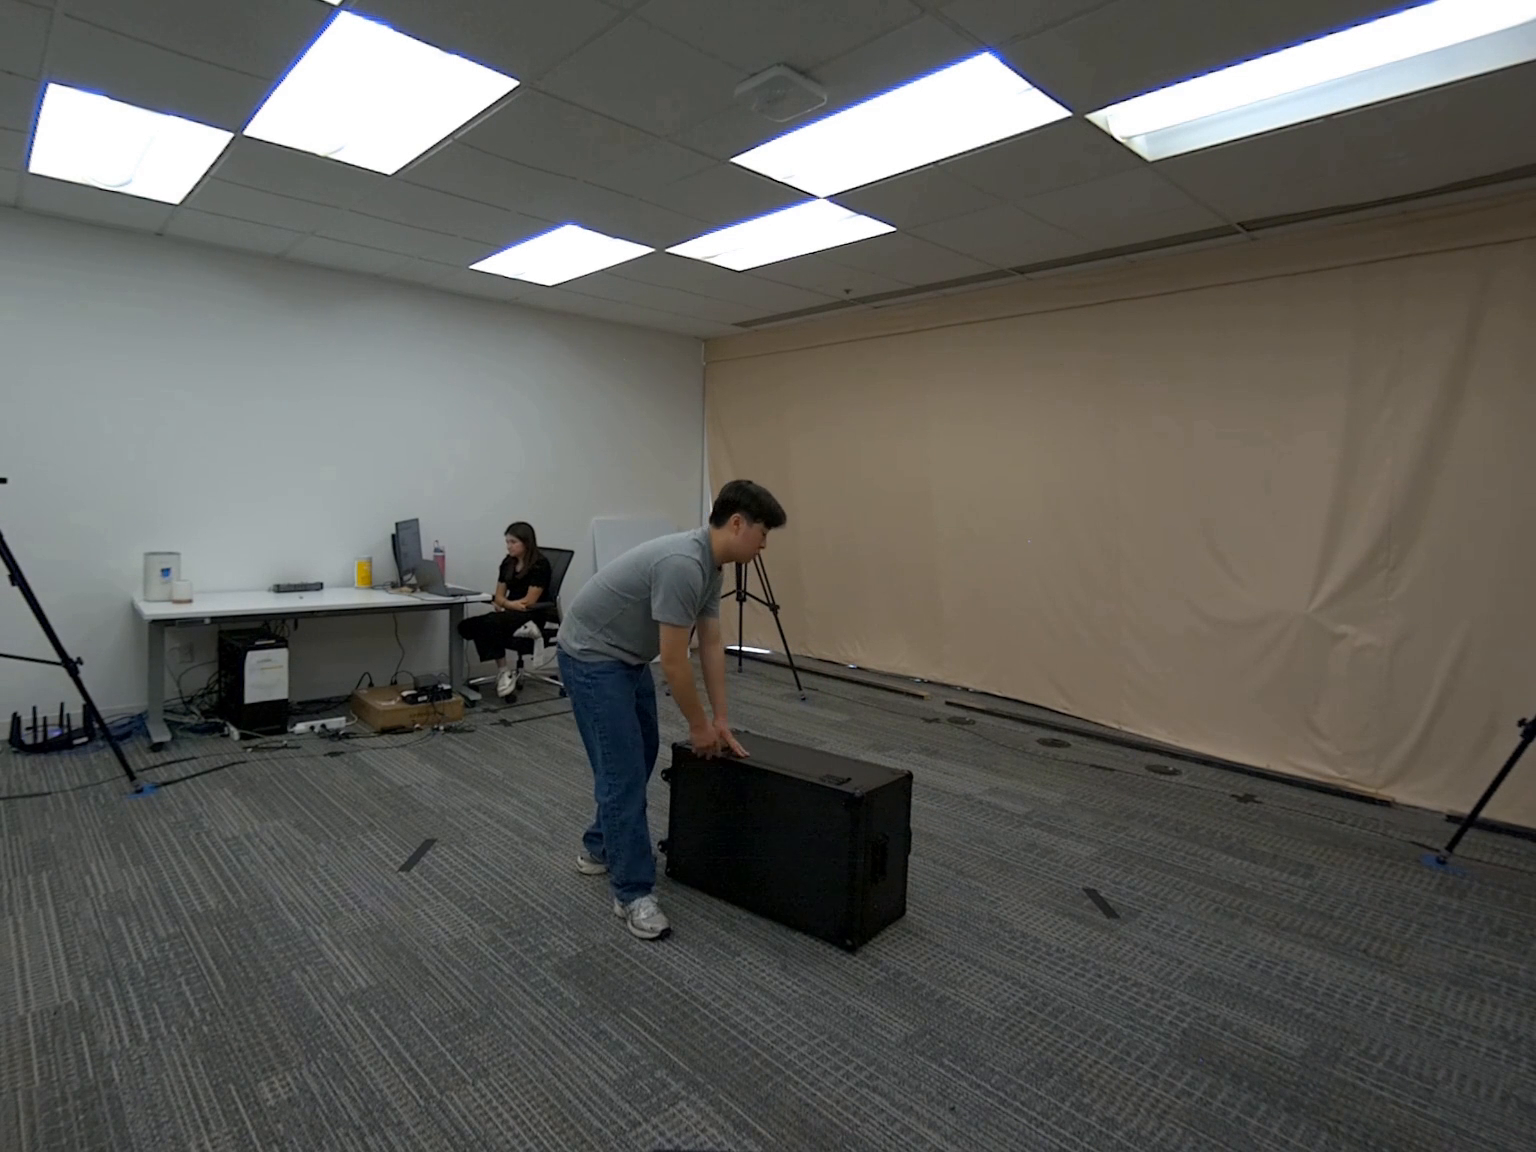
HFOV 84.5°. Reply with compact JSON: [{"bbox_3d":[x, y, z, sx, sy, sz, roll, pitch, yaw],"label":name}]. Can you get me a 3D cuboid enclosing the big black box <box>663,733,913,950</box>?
[{"bbox_3d":[0.040,0.866,2.972,0.883,0.520,0.387,5,3,37],"label":"big black box"}]
